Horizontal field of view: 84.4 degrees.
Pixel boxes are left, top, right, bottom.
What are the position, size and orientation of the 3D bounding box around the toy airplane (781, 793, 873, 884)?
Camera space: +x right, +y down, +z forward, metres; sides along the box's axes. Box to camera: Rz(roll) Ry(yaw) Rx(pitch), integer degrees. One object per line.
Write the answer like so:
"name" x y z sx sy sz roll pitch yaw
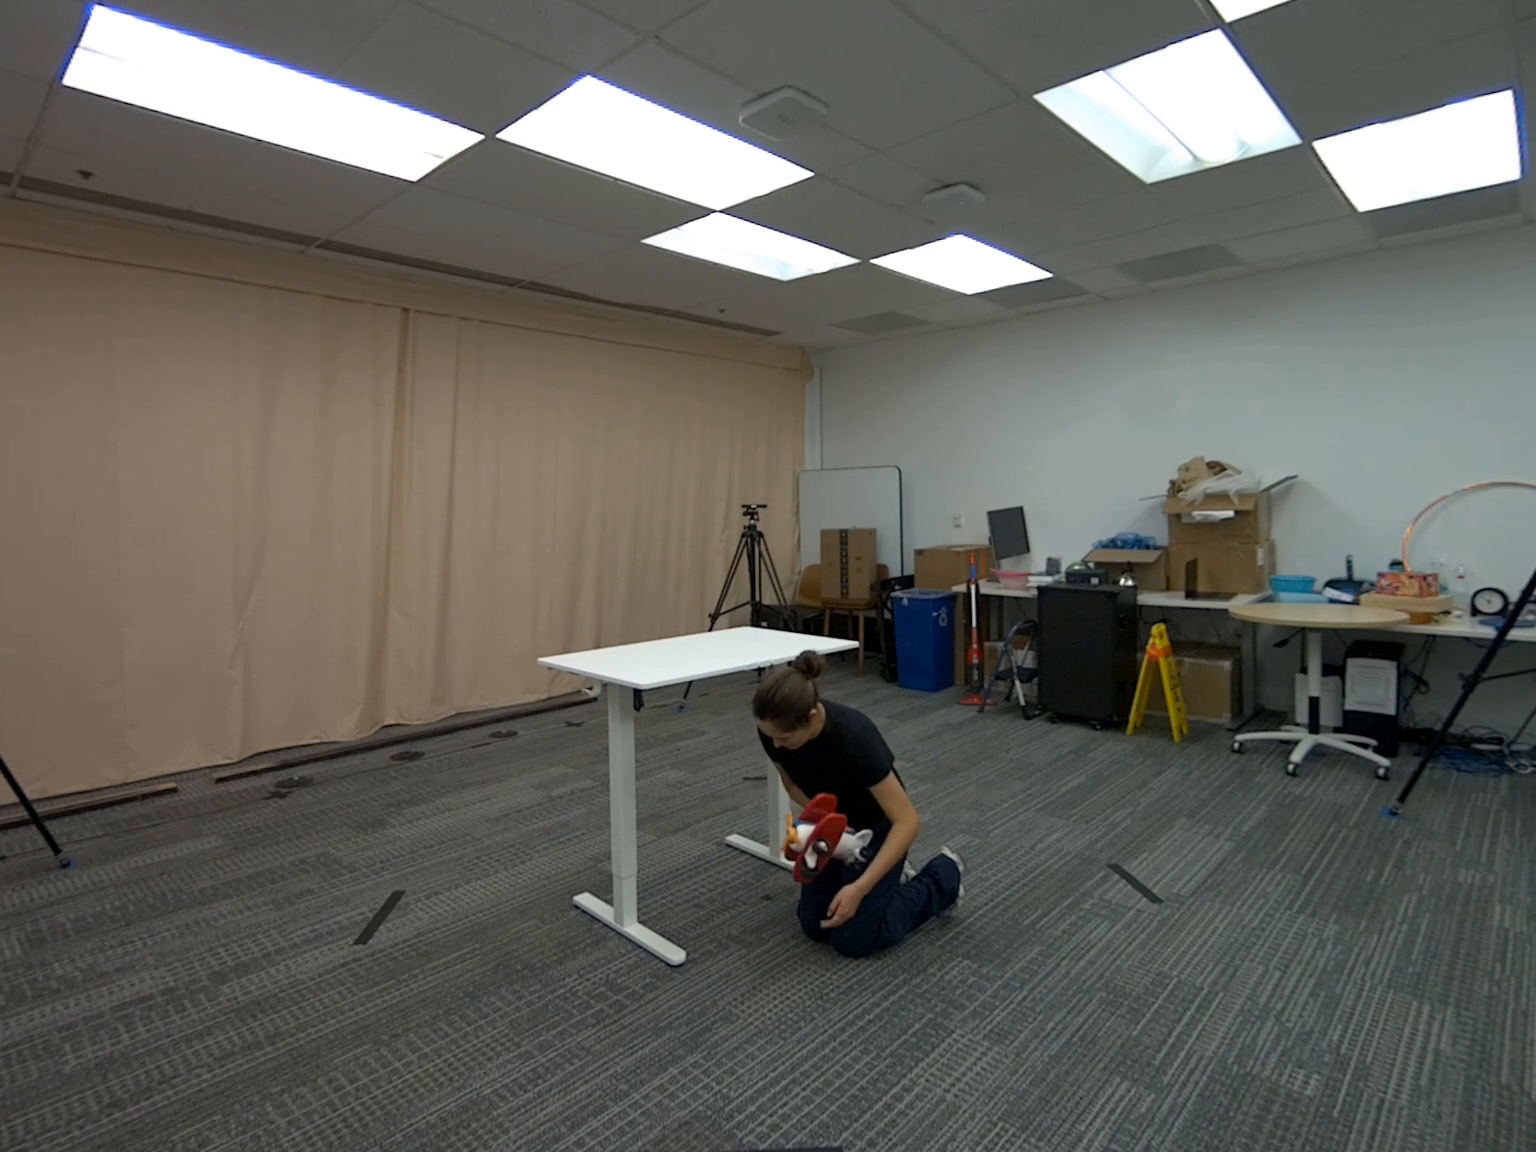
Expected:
"toy airplane" 0.154 0.784 2.426 0.250 0.251 0.162 45 4 -42
